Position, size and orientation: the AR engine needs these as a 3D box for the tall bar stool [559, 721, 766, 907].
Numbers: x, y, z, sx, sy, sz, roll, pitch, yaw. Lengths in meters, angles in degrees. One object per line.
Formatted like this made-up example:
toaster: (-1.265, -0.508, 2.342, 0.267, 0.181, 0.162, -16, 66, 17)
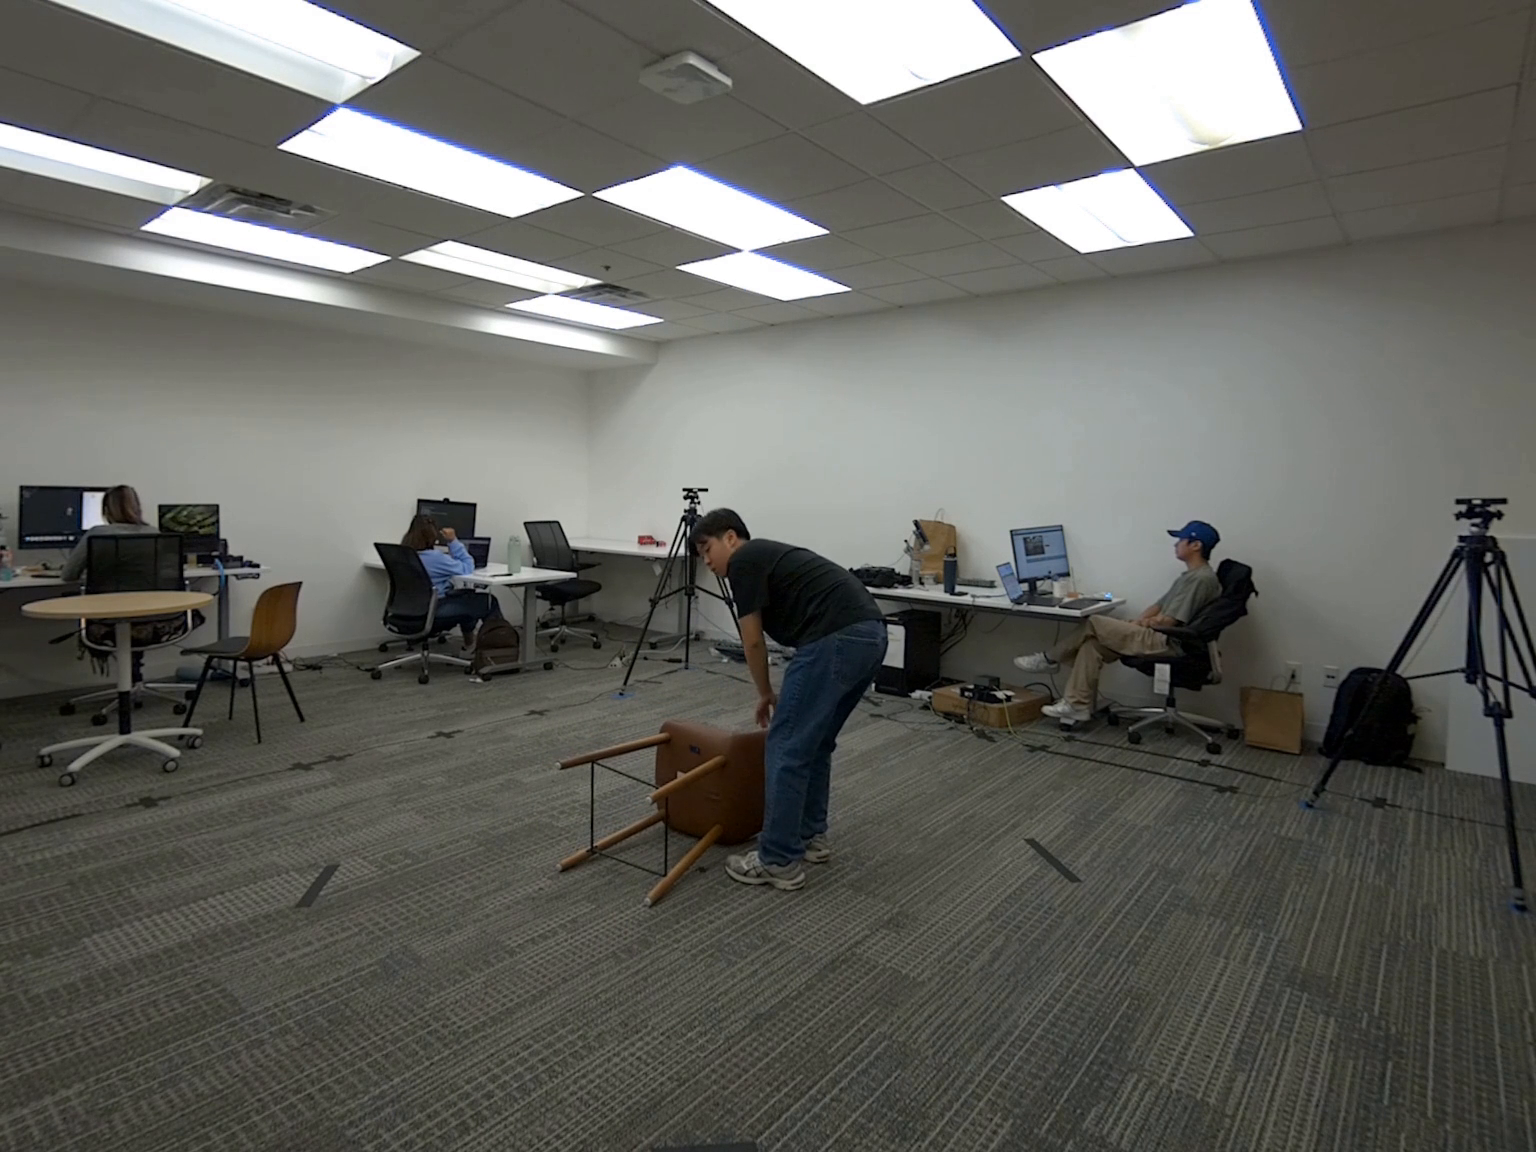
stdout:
tall bar stool: (-0.342, 0.833, 3.270, 0.483, 0.454, 0.867, 5, 9, 35)
